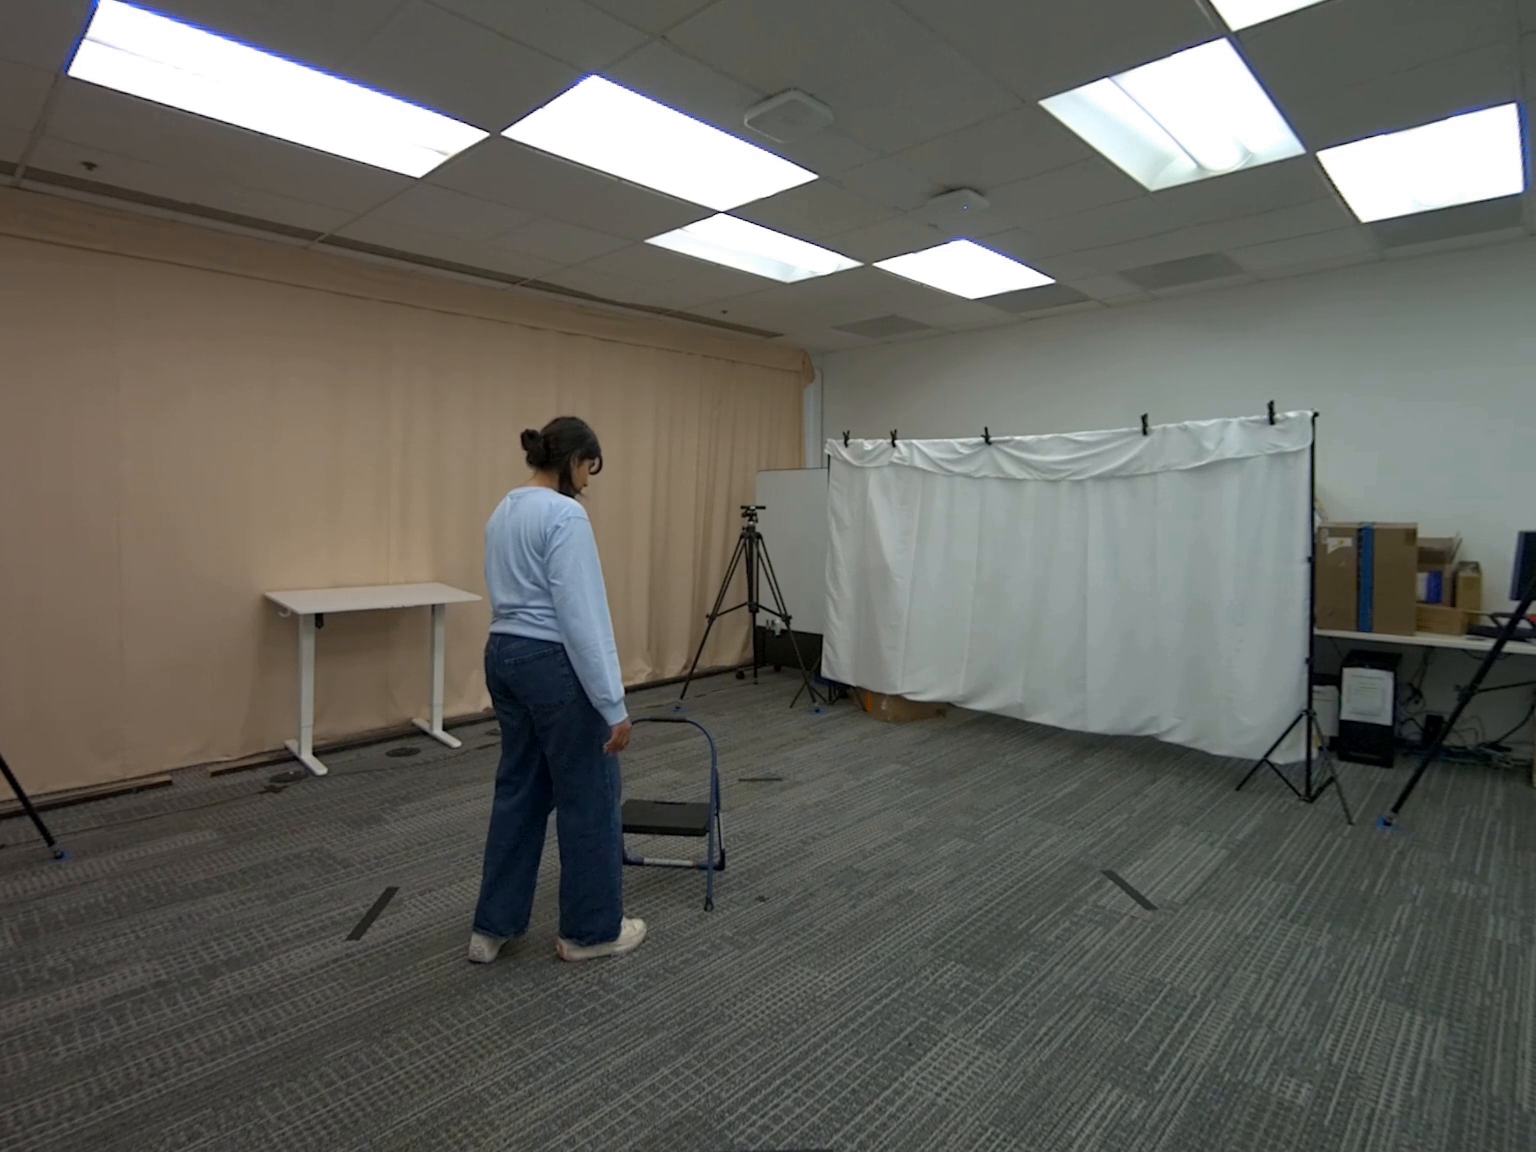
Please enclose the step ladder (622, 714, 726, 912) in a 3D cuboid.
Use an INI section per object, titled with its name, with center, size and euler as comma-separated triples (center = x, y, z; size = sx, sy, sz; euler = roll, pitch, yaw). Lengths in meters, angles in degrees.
[step ladder]
center = -0.386, 0.837, 3.091
size = 0.435, 0.605, 0.346
euler = 0, 3, 8
